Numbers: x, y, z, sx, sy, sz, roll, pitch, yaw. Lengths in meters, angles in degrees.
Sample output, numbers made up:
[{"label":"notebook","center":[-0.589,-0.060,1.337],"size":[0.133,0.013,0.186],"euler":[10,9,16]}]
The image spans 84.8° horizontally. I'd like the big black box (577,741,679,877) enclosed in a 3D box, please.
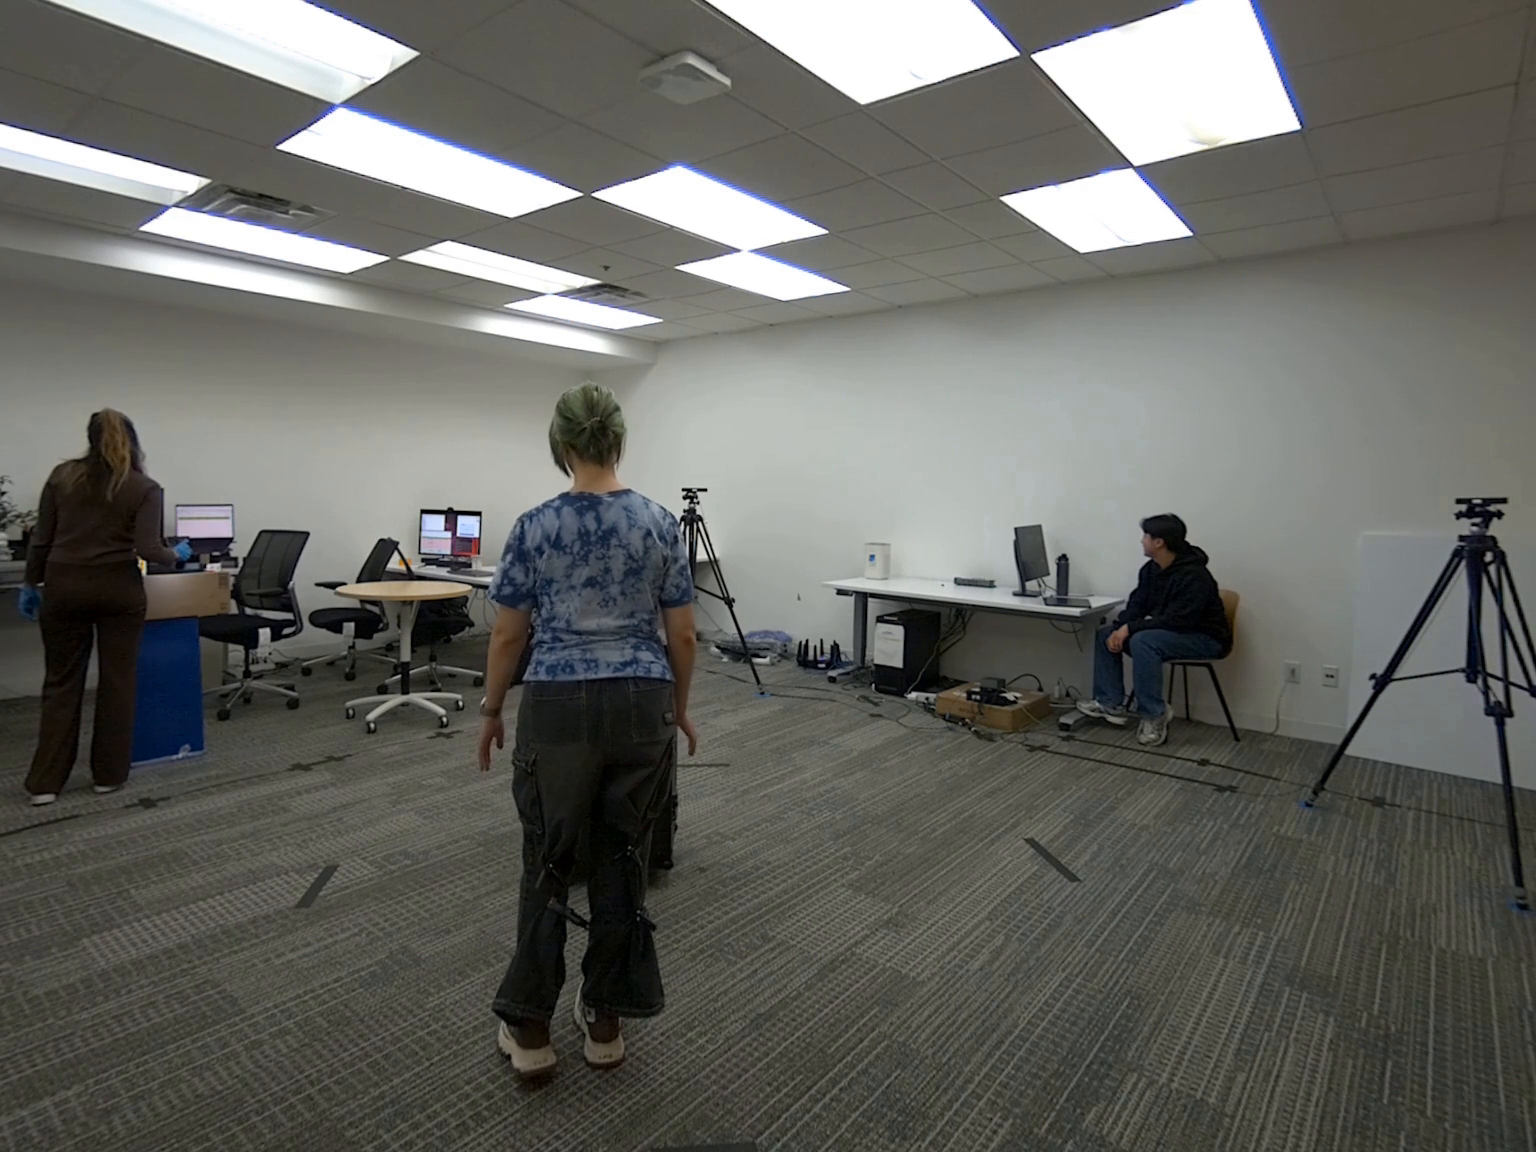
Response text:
[{"label":"big black box","center":[-0.592,0.637,3.110],"size":[0.522,0.860,0.397],"euler":[1,2,0]}]
